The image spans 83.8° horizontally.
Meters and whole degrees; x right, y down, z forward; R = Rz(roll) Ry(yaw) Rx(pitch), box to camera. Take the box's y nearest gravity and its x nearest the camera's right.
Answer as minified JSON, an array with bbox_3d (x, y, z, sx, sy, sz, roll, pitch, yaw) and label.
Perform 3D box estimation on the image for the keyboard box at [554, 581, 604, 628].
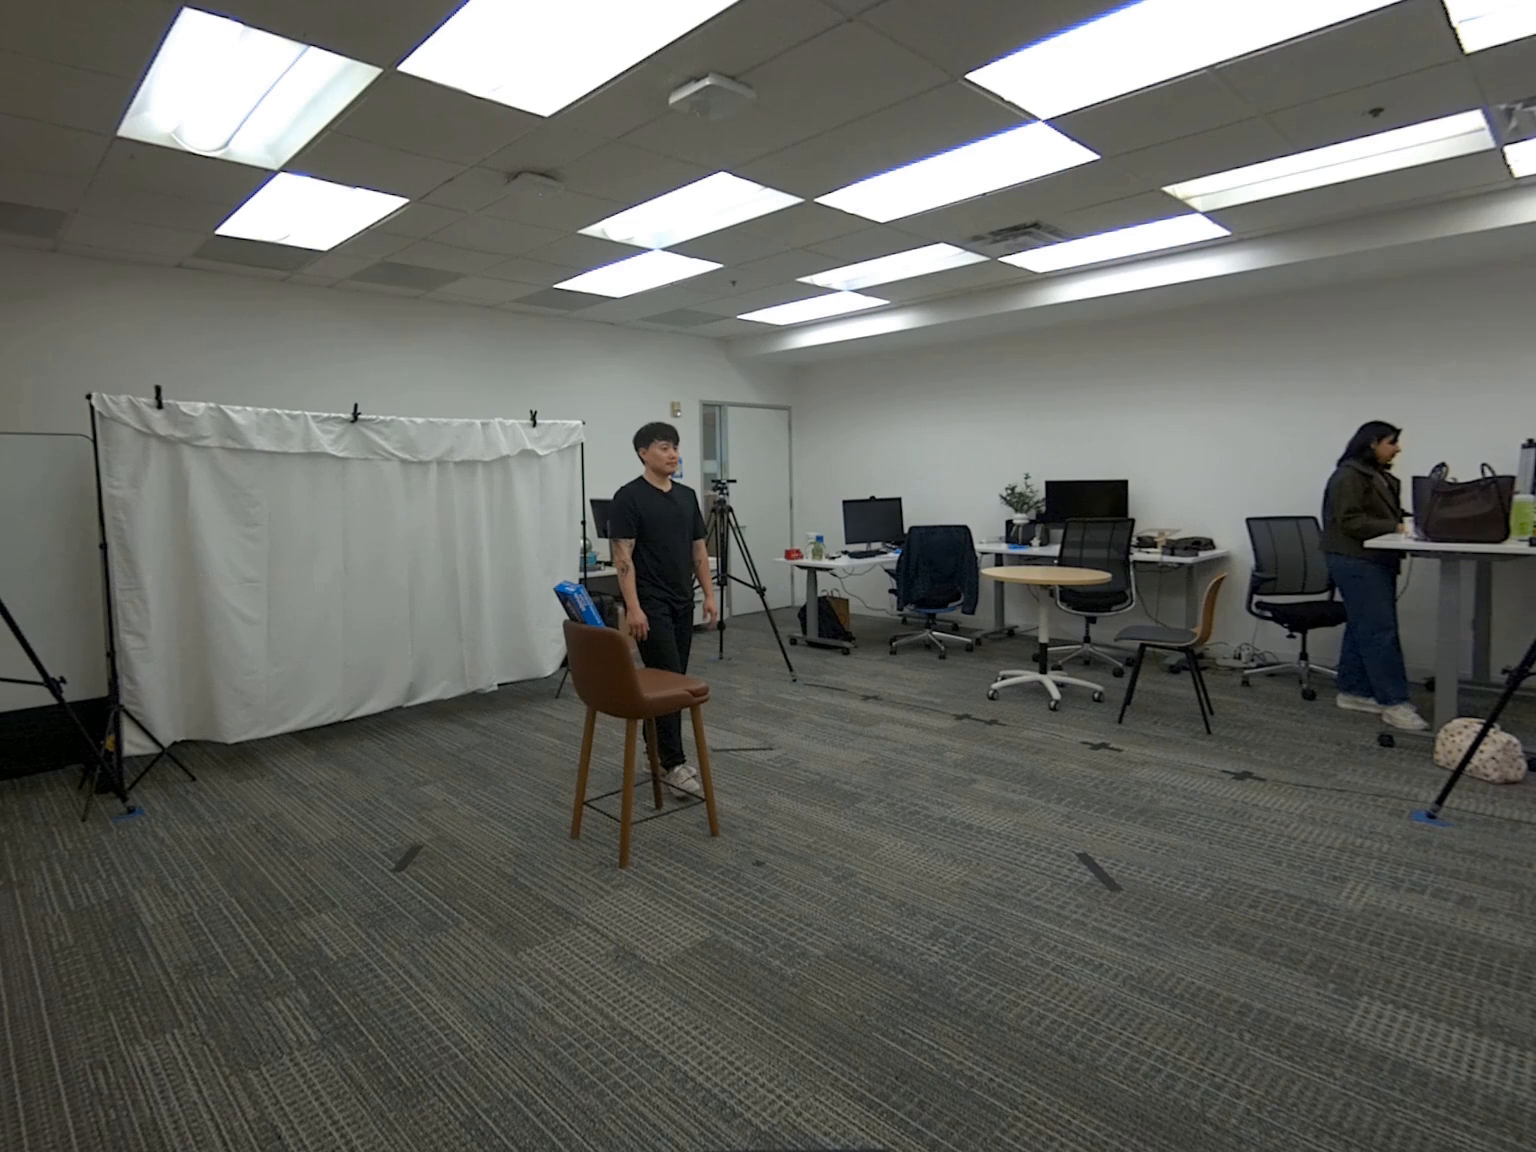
[{"bbox_3d":[-0.676,0.228,3.283,0.059,0.427,0.181,-35,23,-28],"label":"keyboard box"}]
